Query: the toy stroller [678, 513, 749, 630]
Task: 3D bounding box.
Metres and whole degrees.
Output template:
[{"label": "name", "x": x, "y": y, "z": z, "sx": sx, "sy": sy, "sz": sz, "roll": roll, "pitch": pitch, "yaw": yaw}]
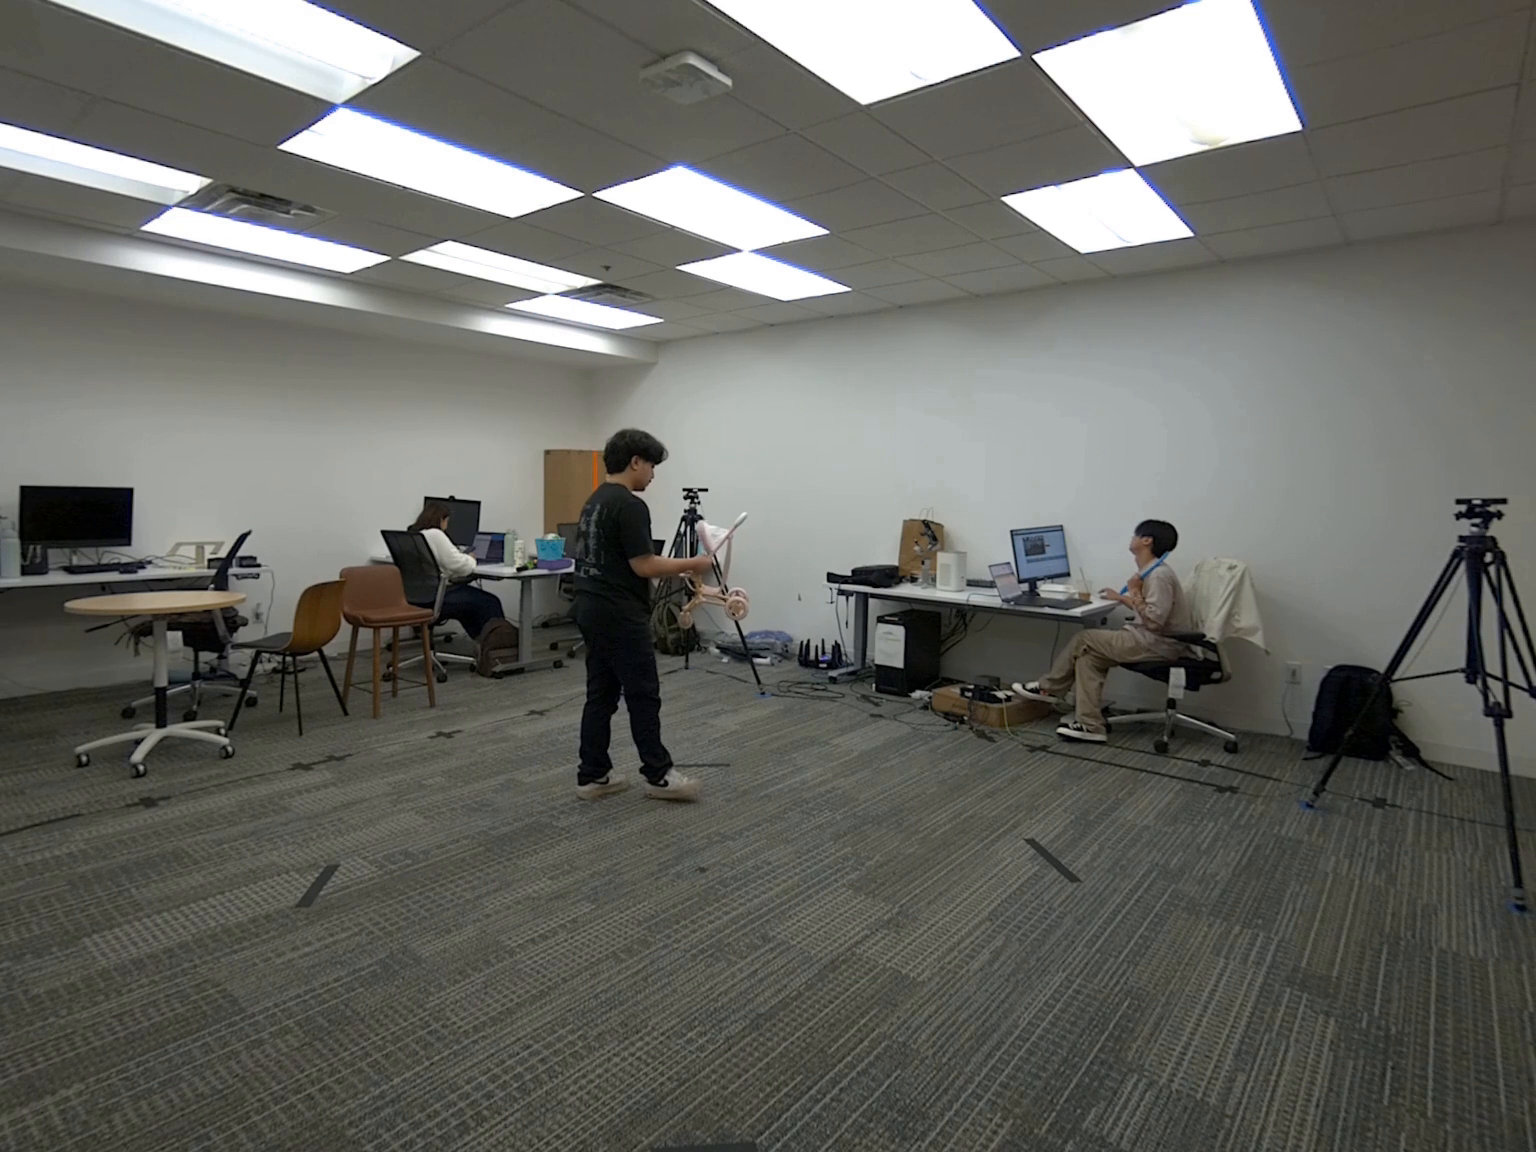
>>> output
[{"label": "toy stroller", "x": -0.274, "y": -0.024, "z": 3.955, "sx": 0.343, "sy": 0.531, "sz": 0.281, "roll": 0, "pitch": 7, "yaw": 5}]
